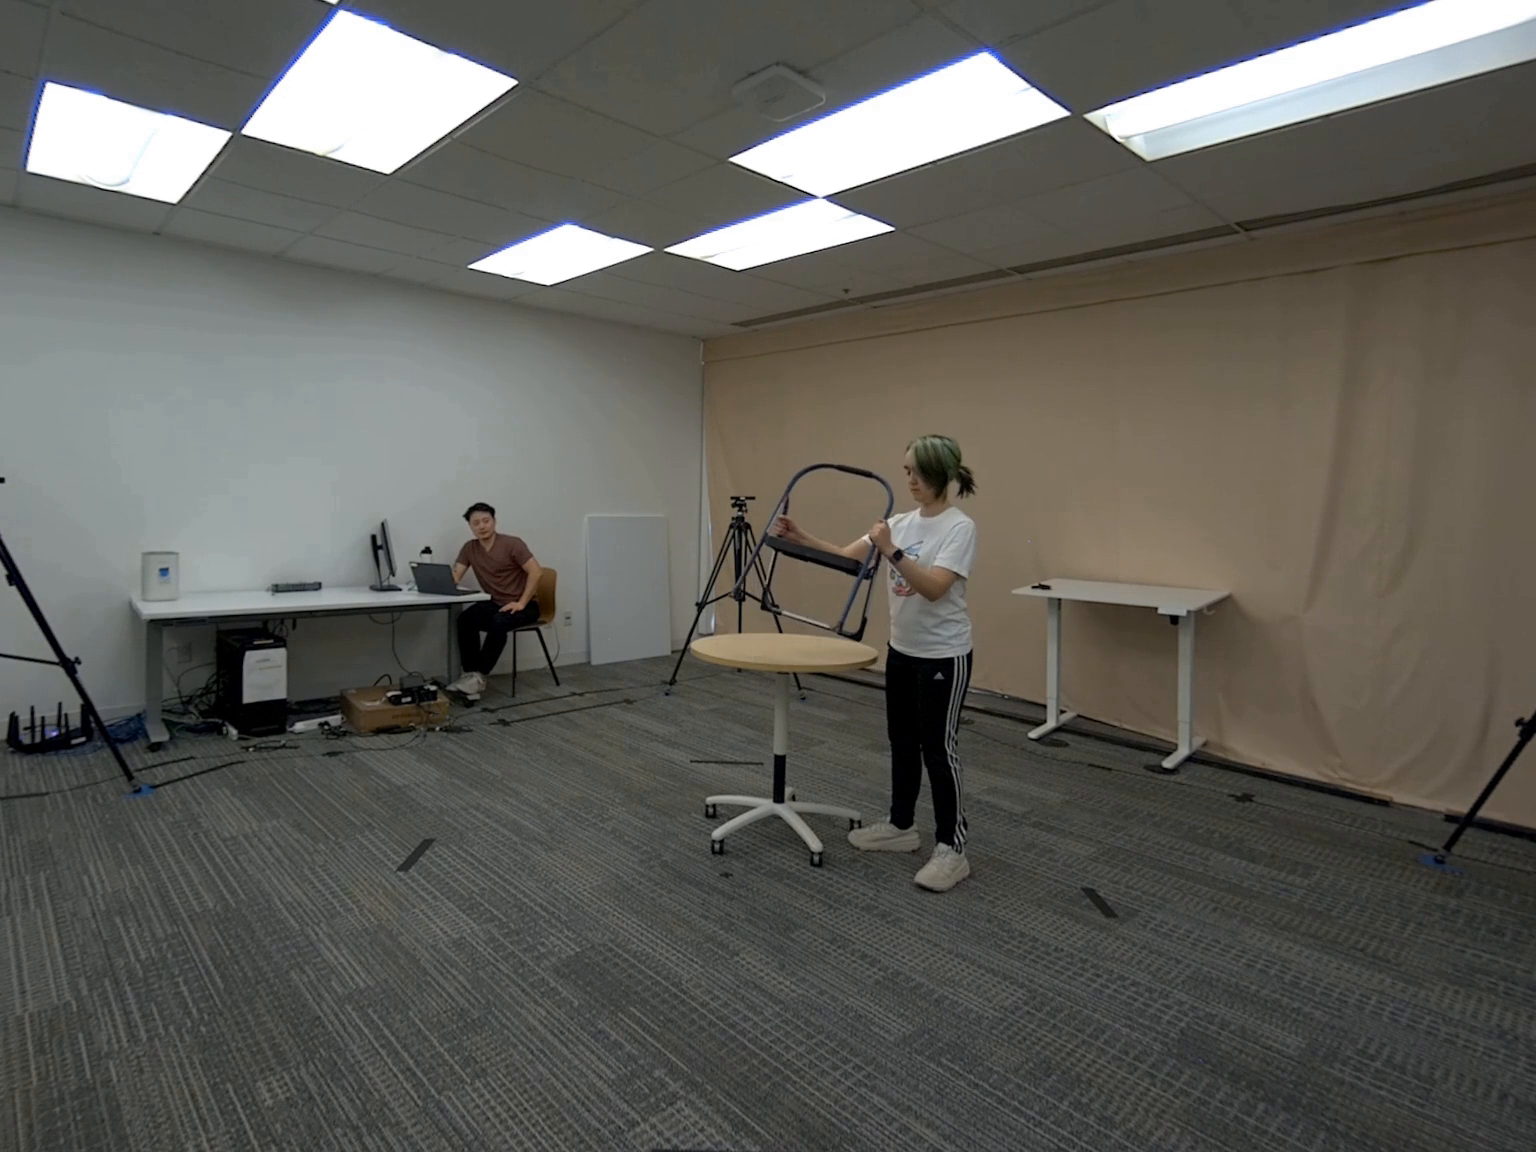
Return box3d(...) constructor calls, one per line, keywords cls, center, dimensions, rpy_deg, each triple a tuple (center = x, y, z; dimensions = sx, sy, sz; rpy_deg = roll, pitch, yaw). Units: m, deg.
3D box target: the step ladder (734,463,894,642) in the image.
box3d(cls="step ladder", center=(0.195, -0.119, 3.042), dimensions=(0.440, 0.607, 0.341), rpy_deg=(18, -3, 22))
